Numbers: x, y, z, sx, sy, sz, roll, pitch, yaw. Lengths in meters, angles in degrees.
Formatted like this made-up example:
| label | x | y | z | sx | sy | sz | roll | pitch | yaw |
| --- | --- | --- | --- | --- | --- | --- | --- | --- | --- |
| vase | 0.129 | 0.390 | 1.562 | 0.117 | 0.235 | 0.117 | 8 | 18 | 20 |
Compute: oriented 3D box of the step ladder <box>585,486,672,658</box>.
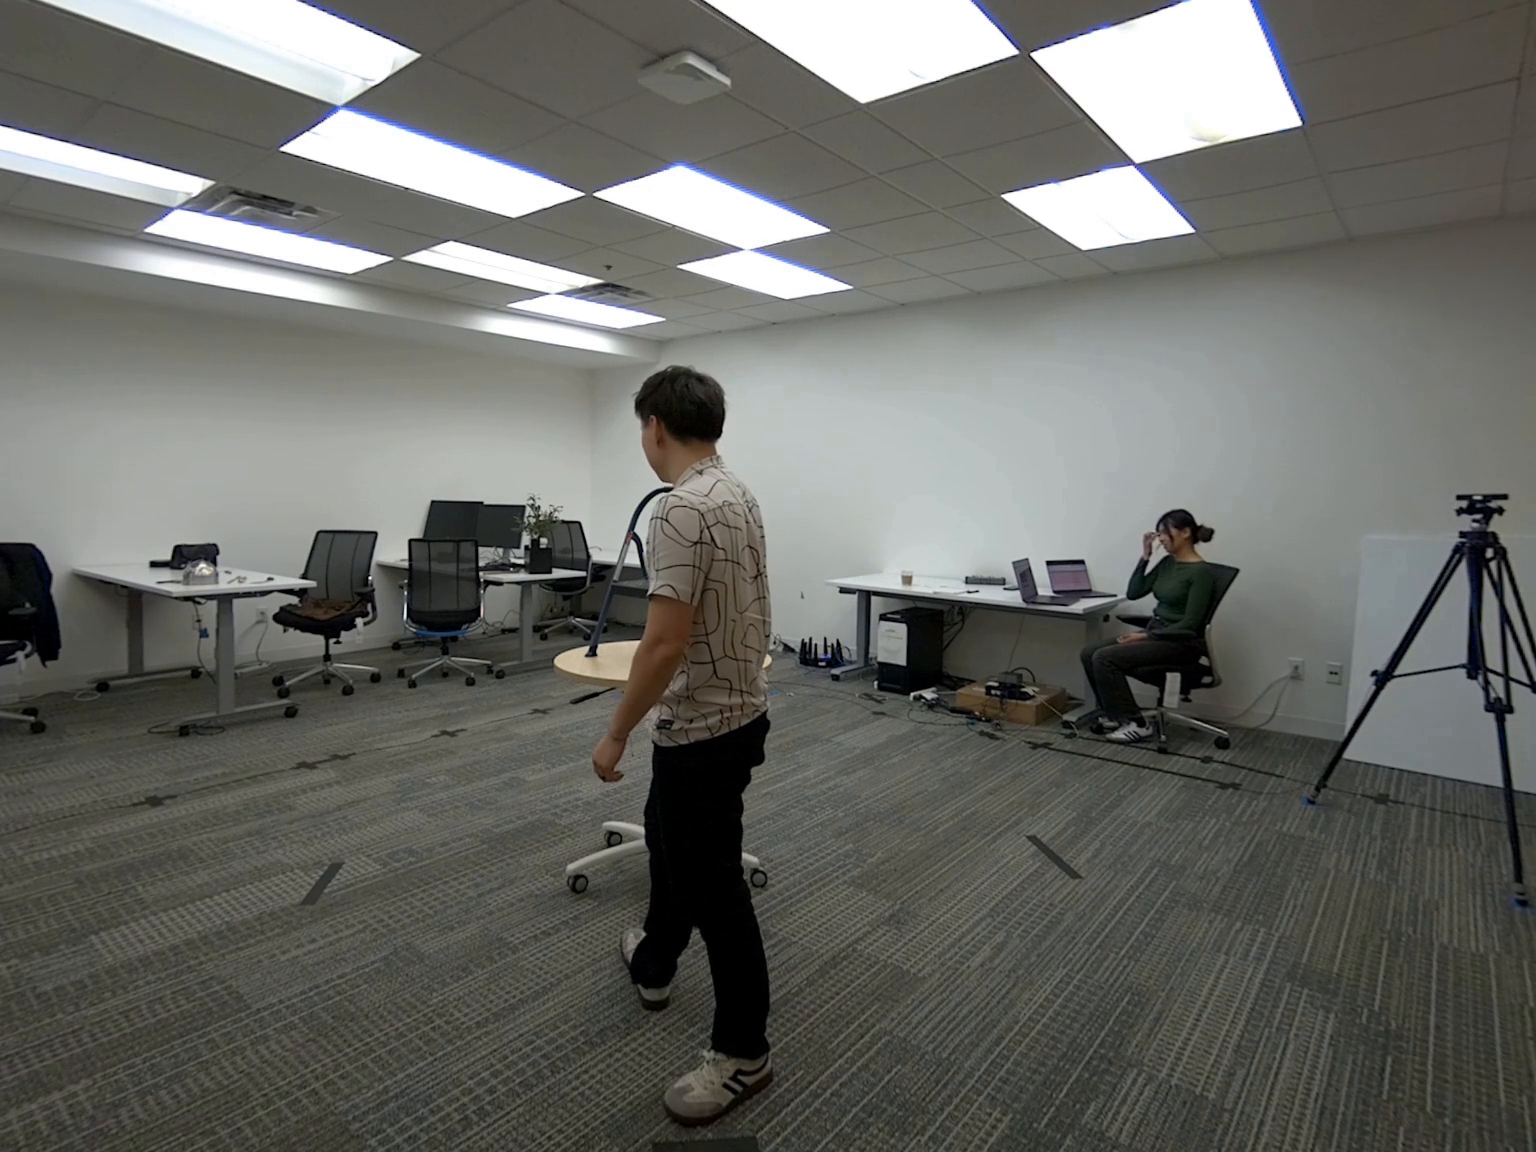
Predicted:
| label | x | y | z | sx | sy | sz | roll | pitch | yaw |
| --- | --- | --- | --- | --- | --- | --- | --- | --- | --- |
| step ladder | -0.390 | -0.010 | 2.983 | 0.339 | 0.604 | 0.445 | -3 | 5 | -45 |
